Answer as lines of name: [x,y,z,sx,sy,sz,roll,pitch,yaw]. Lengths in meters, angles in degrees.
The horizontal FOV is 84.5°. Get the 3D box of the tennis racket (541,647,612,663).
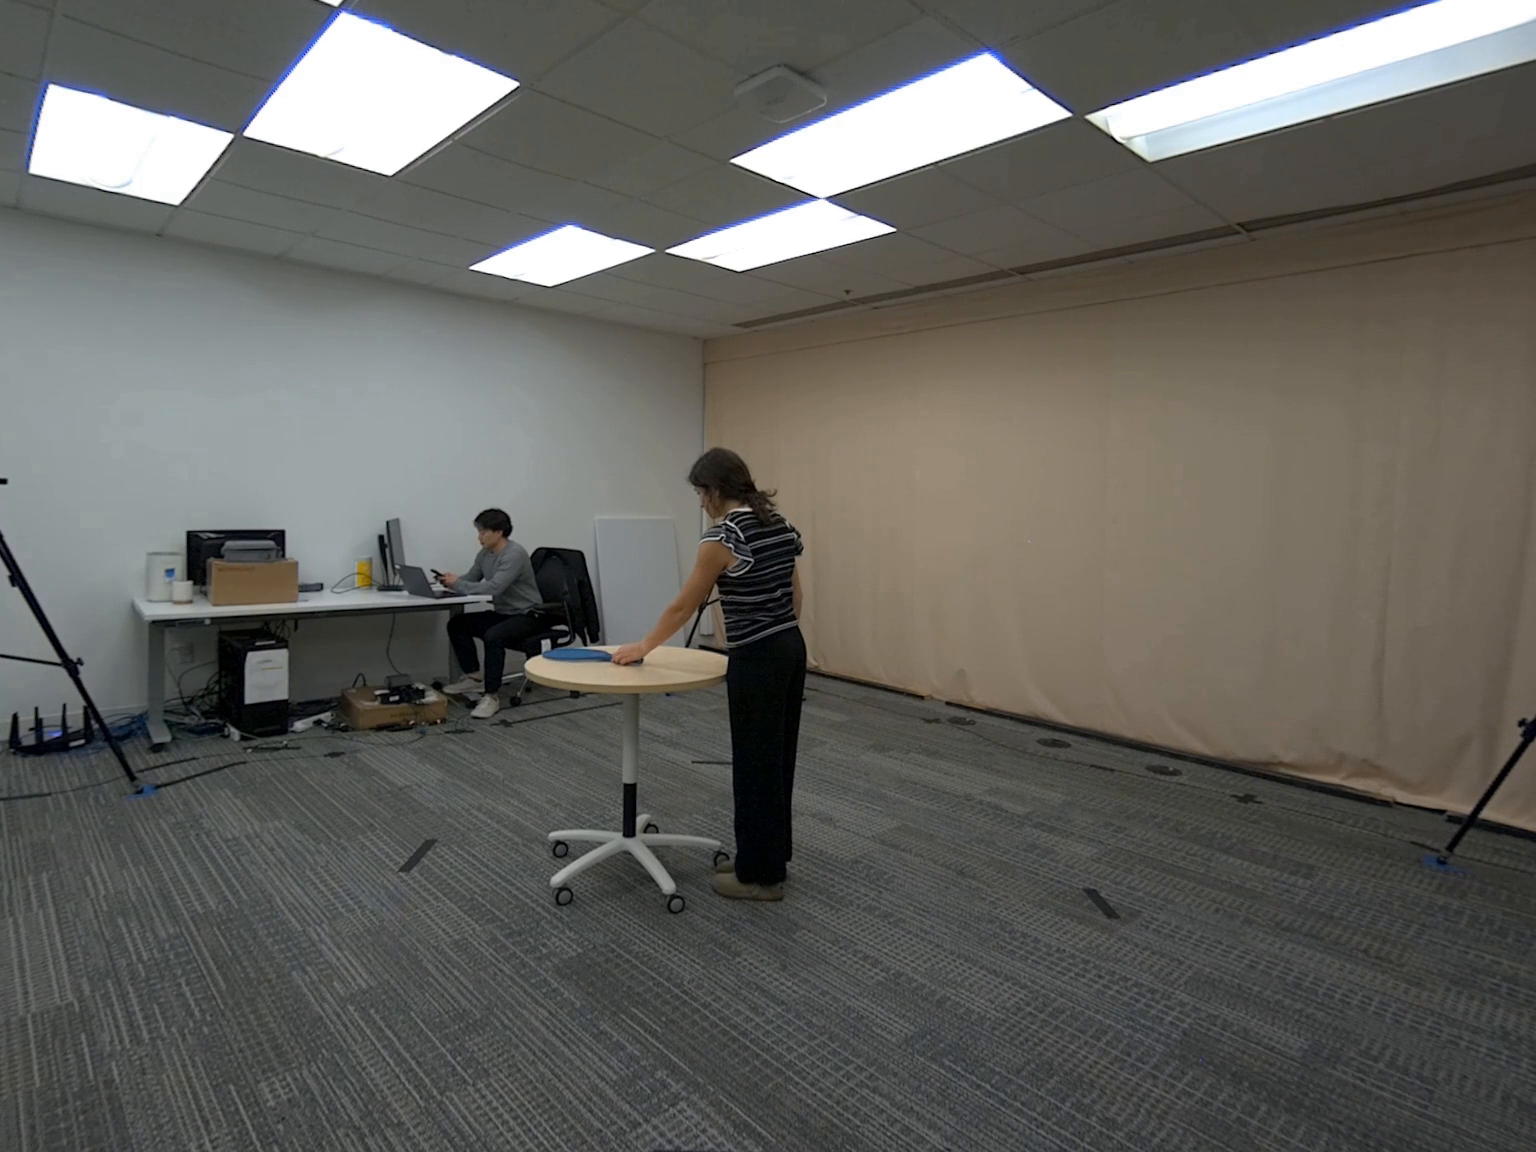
tennis racket: [-0.657,0.300,3.127,0.441,0.031,0.210,3,6,25]
